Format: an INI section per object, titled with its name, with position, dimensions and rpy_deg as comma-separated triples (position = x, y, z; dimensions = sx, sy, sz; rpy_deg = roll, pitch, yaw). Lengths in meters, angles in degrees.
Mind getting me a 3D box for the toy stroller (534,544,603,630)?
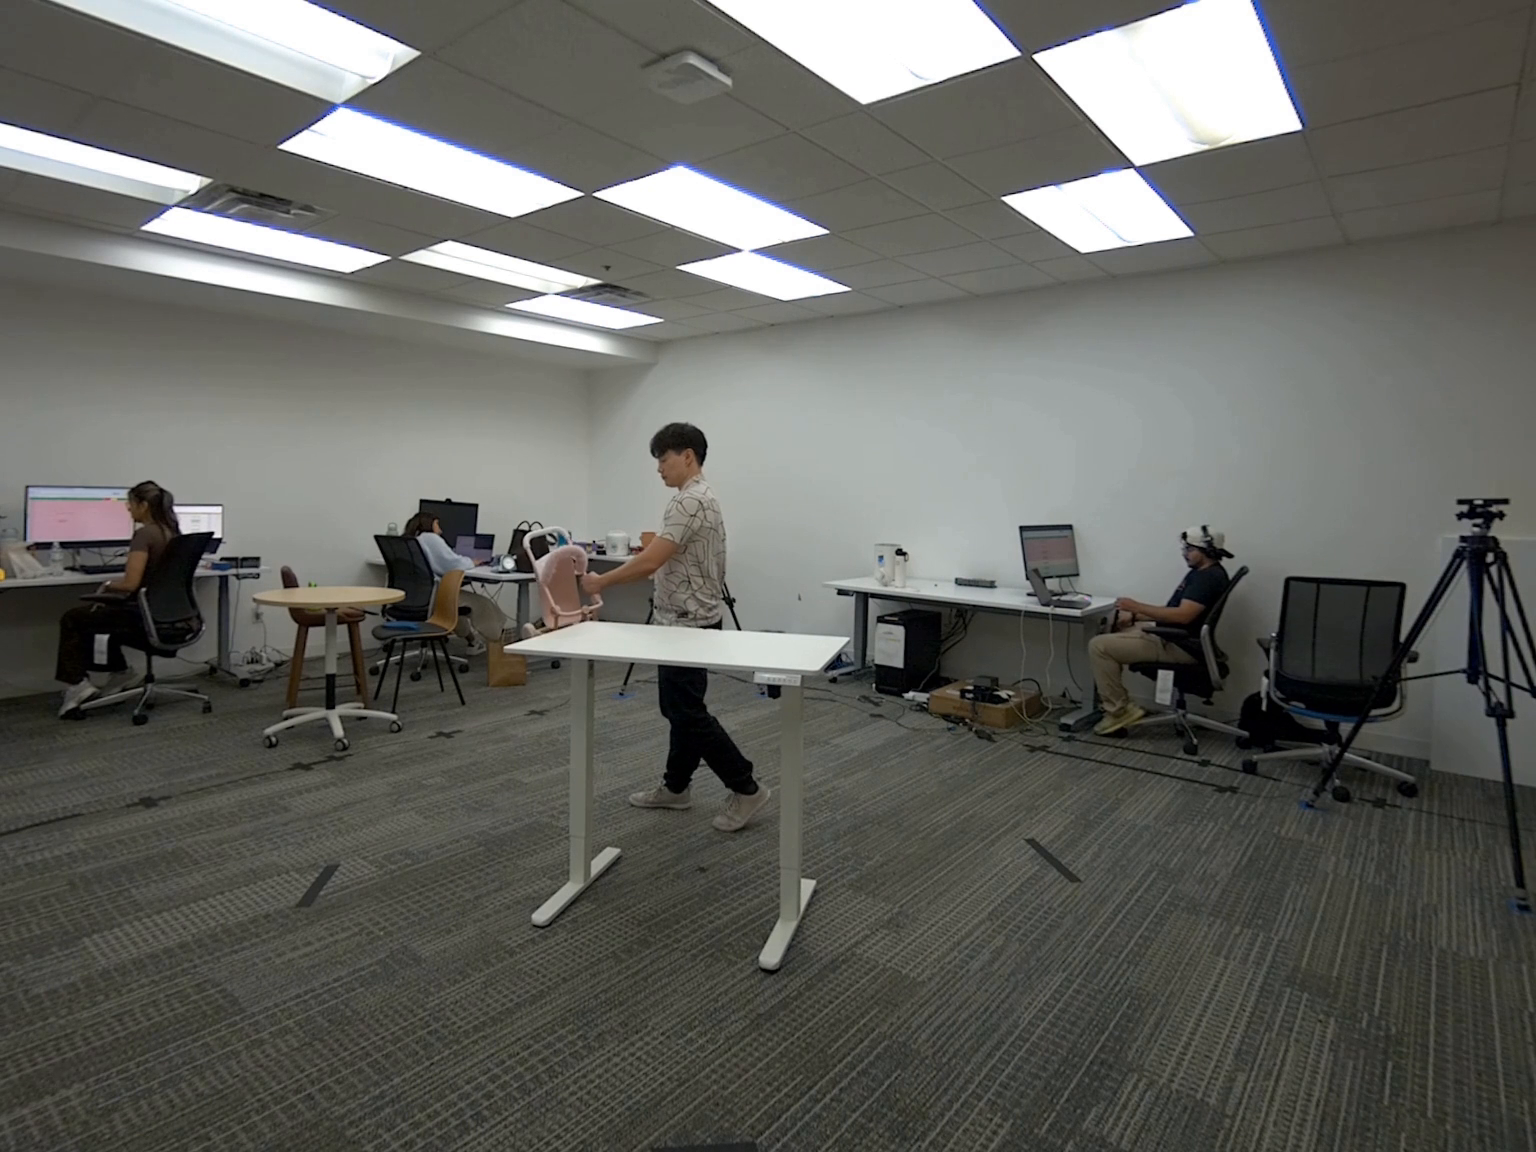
[toy stroller]
position = -0.836, 0.096, 3.467
dimensions = 0.275, 0.527, 0.354
rpy_deg = -12, 19, -36
